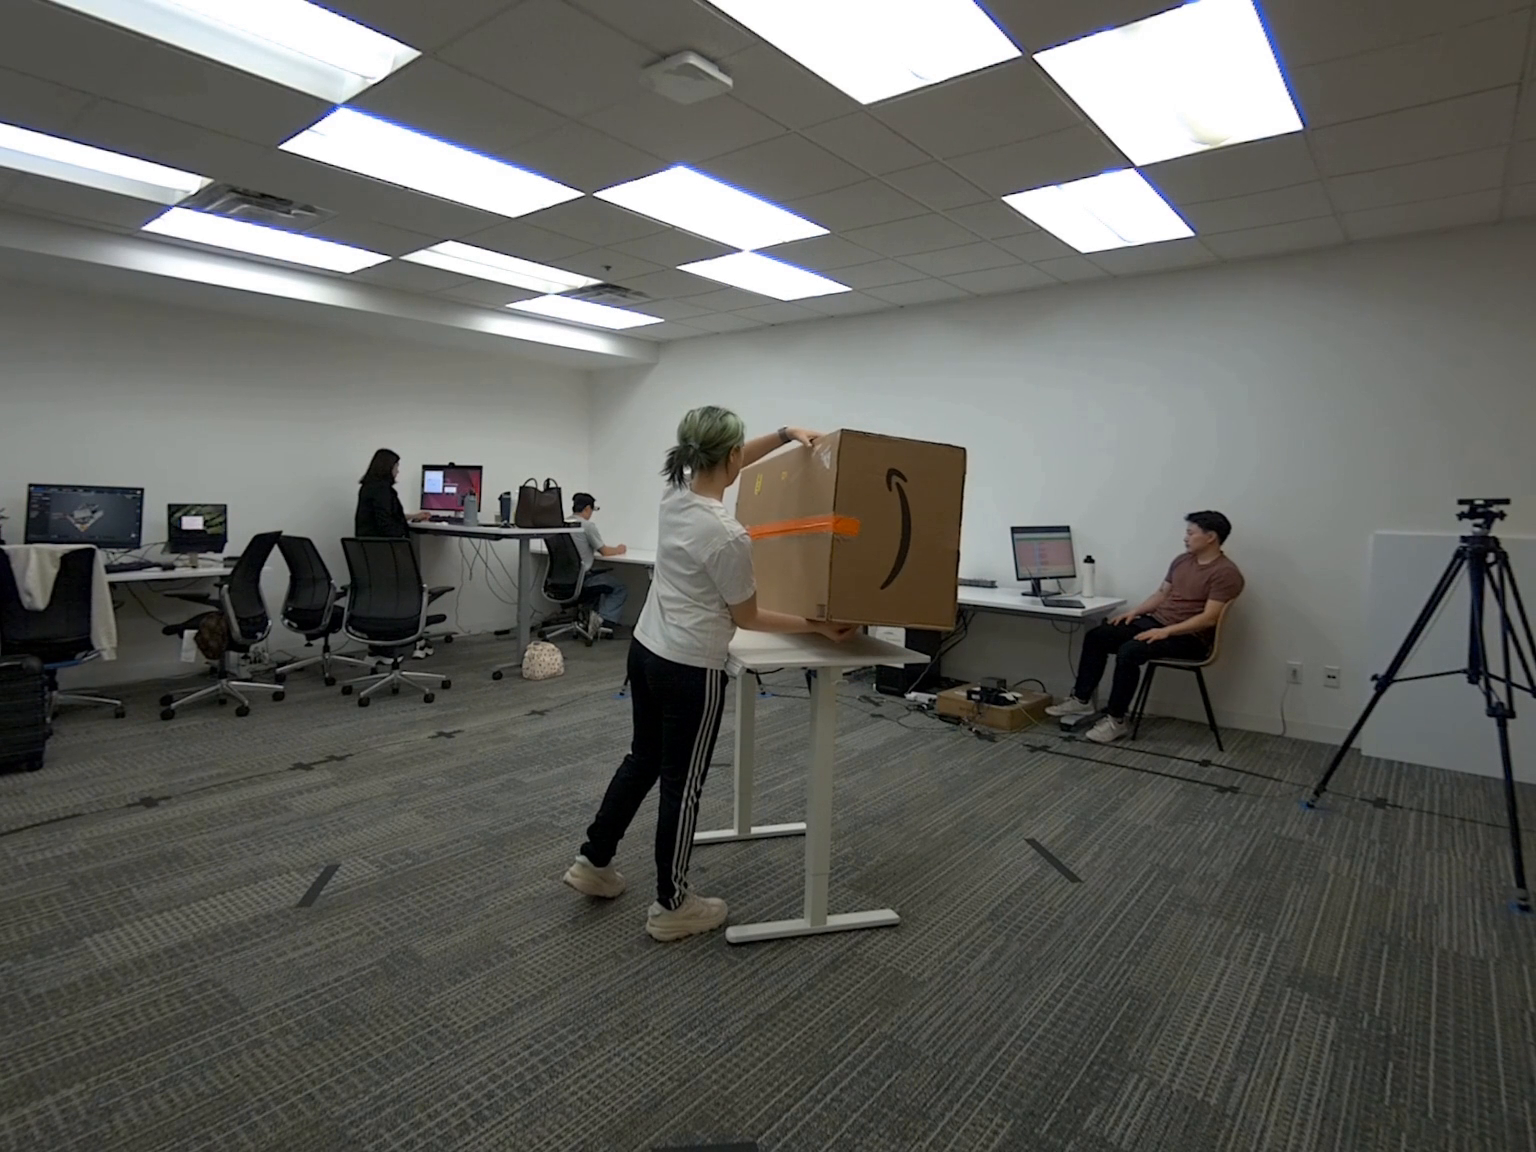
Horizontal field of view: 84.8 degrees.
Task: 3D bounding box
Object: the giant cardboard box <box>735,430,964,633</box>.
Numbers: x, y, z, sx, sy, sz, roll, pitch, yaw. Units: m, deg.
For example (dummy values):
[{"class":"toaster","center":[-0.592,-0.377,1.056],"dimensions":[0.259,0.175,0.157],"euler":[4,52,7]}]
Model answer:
[{"class":"giant cardboard box","center":[0.206,-0.139,3.045],"dimensions":[0.440,0.585,1.041],"euler":[5,-2,-15]}]
